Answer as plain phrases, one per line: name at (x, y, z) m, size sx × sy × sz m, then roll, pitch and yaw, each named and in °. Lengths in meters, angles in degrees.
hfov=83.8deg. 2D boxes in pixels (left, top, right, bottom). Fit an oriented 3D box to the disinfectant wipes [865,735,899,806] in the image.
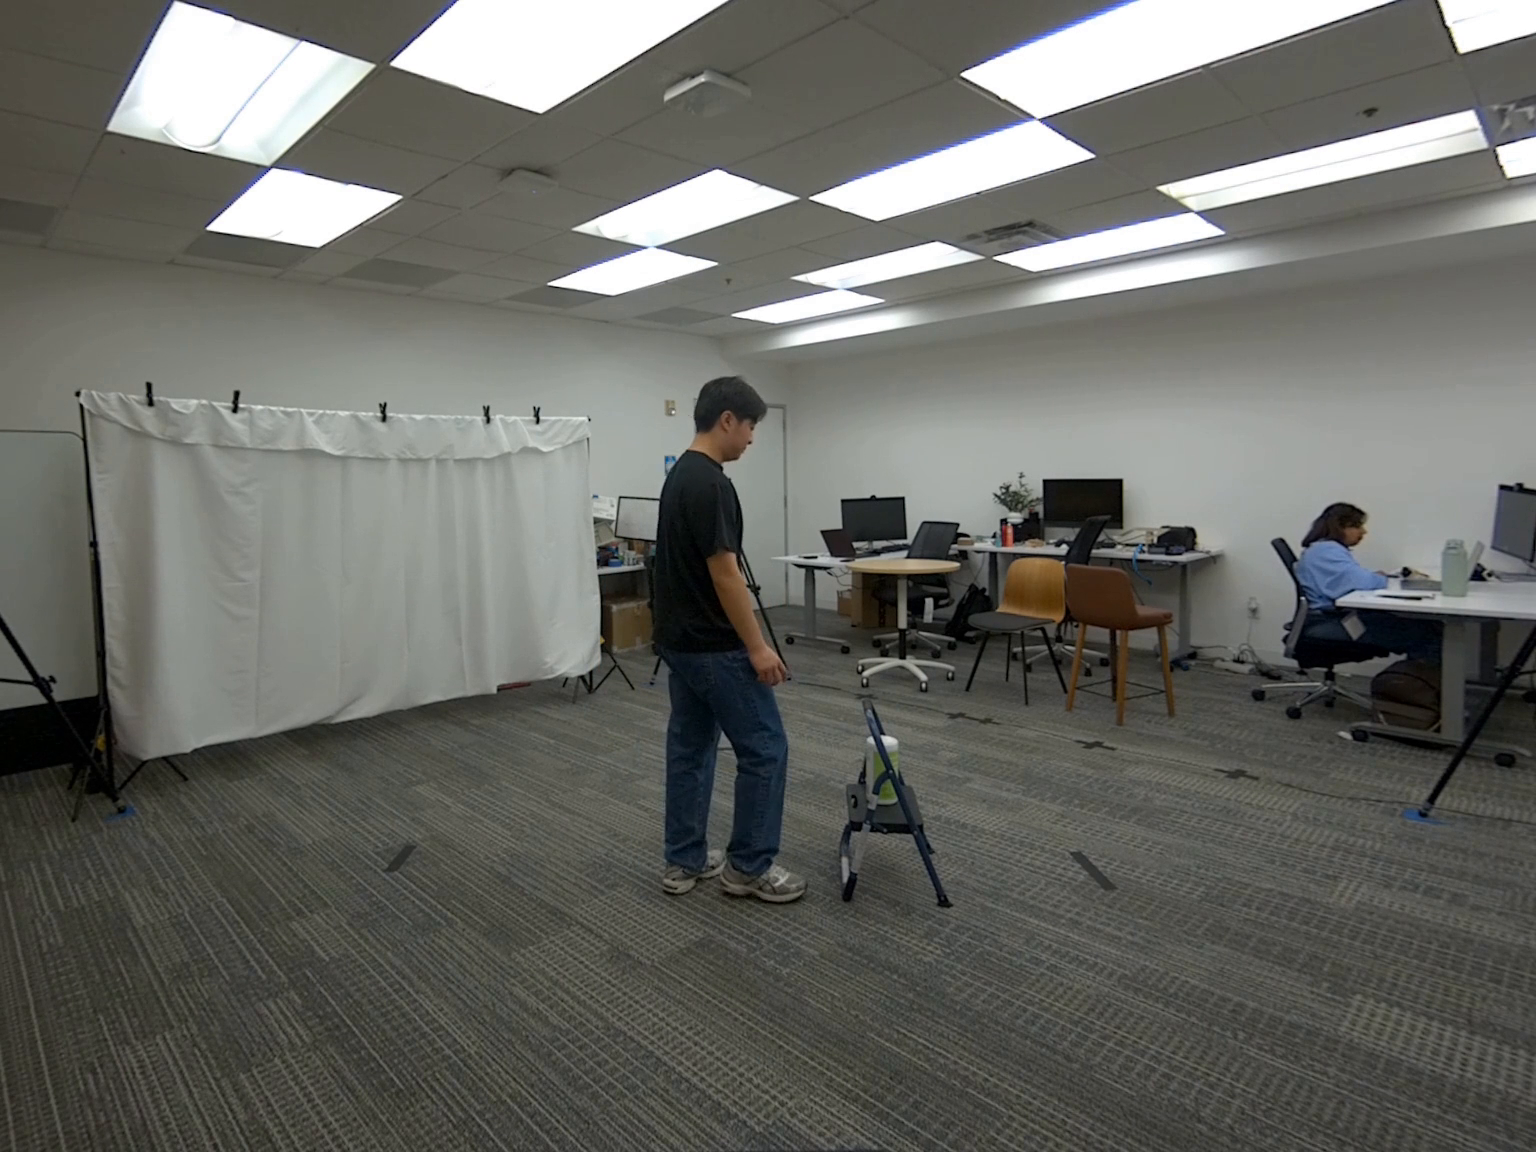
disinfectant wipes at (0.396, 0.677, 2.986) m, size 0.118 × 0.217 × 0.118 m, roll 1°, pitch 4°, yaw -2°
